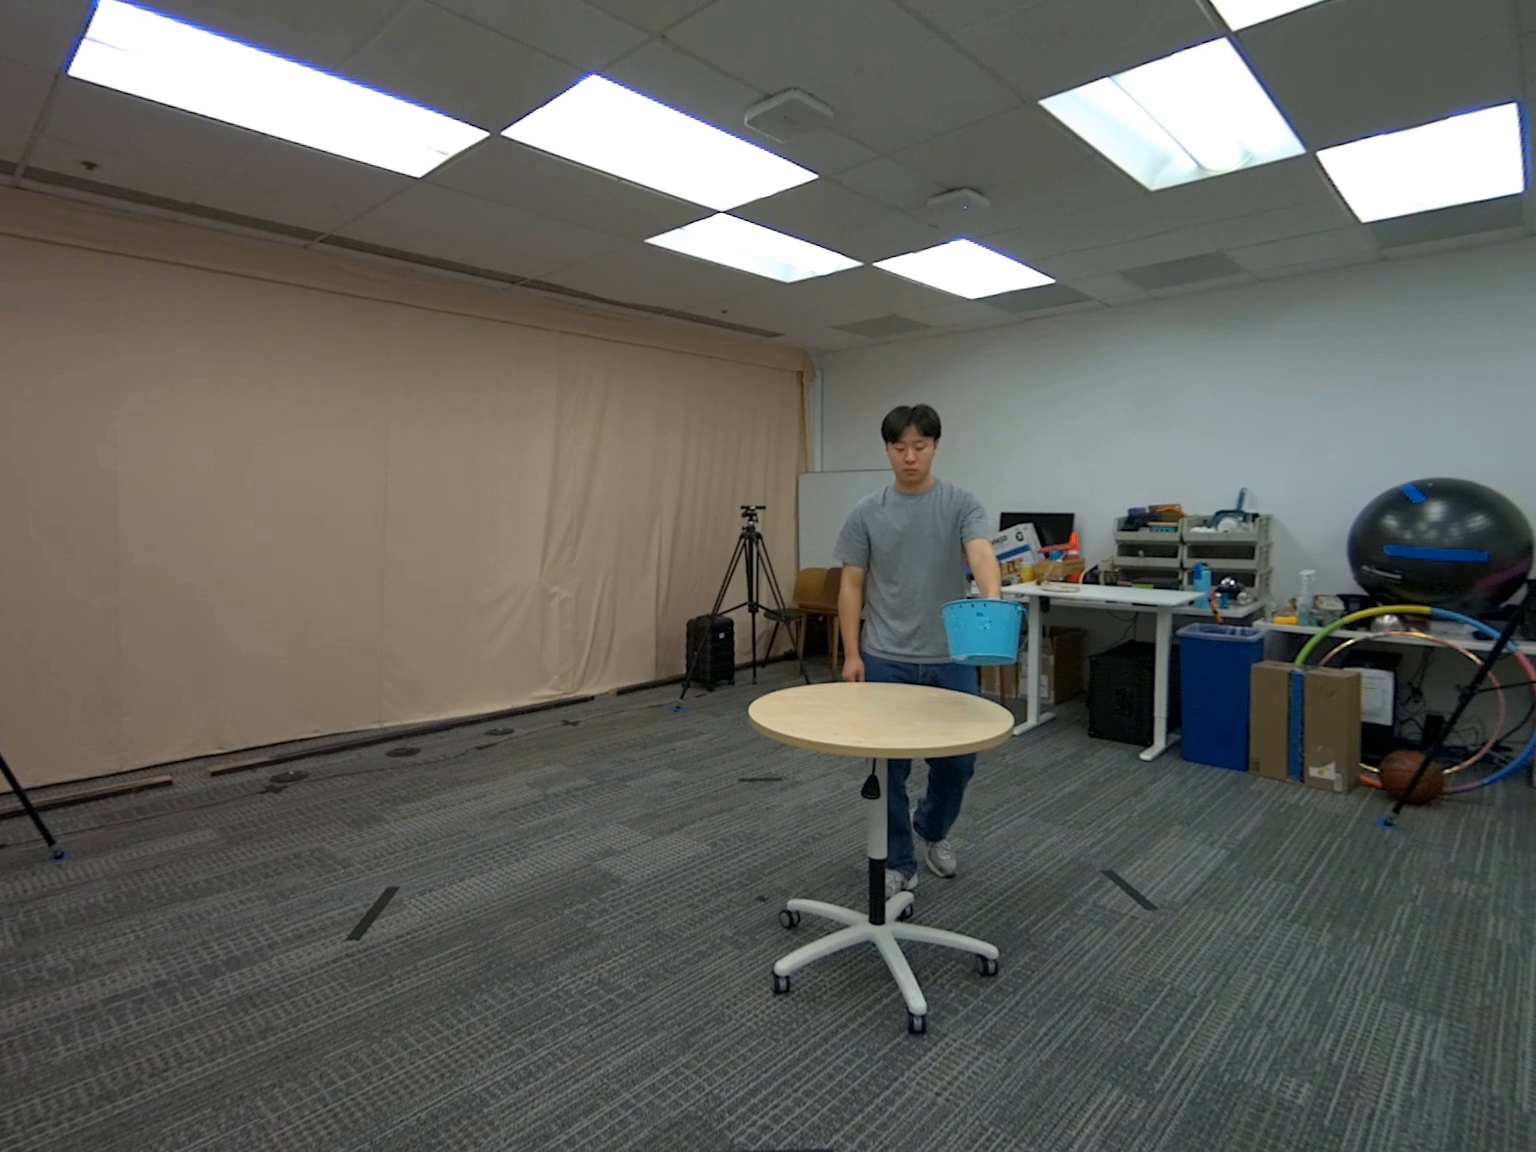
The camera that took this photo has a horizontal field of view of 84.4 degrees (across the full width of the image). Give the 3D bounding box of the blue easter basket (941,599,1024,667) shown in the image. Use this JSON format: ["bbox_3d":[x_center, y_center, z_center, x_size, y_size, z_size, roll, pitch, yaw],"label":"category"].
[{"bbox_3d":[0.635,0.167,2.414,0.244,0.157,0.242,4,-14,-1],"label":"blue easter basket"}]
